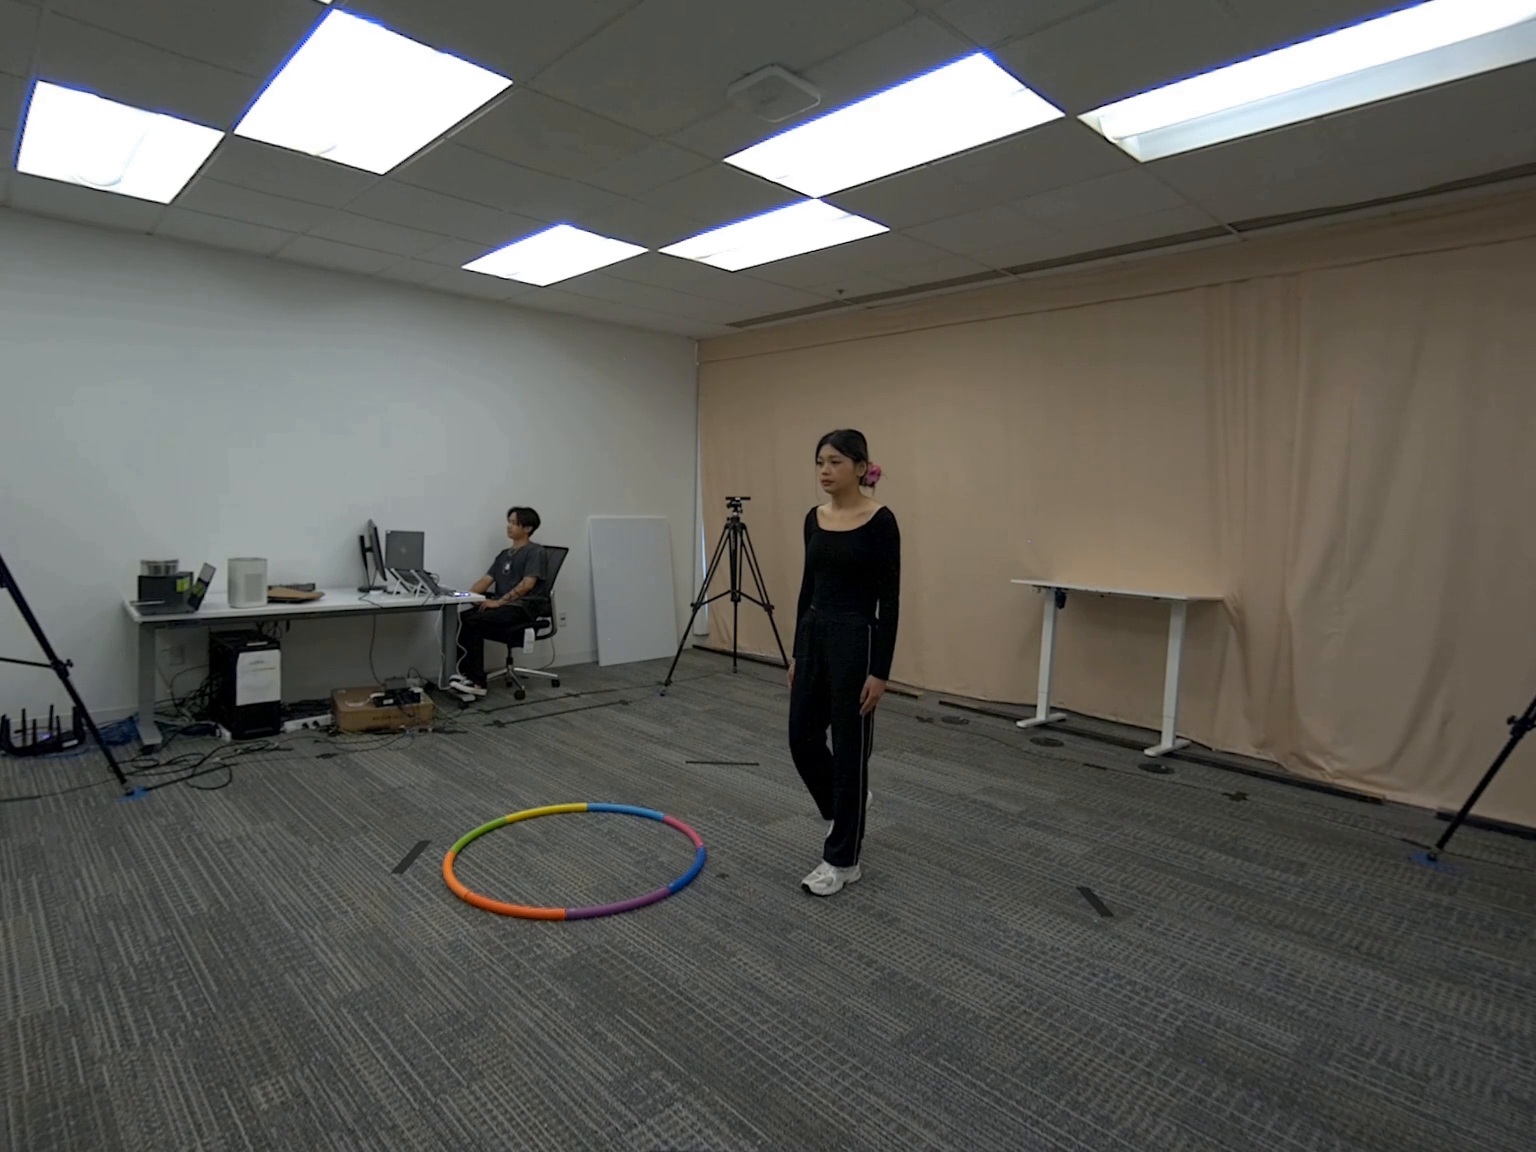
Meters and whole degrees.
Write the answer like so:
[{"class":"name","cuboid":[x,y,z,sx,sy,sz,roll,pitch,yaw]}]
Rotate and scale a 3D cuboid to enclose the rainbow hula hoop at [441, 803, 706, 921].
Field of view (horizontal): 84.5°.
[{"class":"rainbow hula hoop","cuboid":[-0.730,1.053,3.233,0.978,0.035,0.982,2,5,-2]}]
